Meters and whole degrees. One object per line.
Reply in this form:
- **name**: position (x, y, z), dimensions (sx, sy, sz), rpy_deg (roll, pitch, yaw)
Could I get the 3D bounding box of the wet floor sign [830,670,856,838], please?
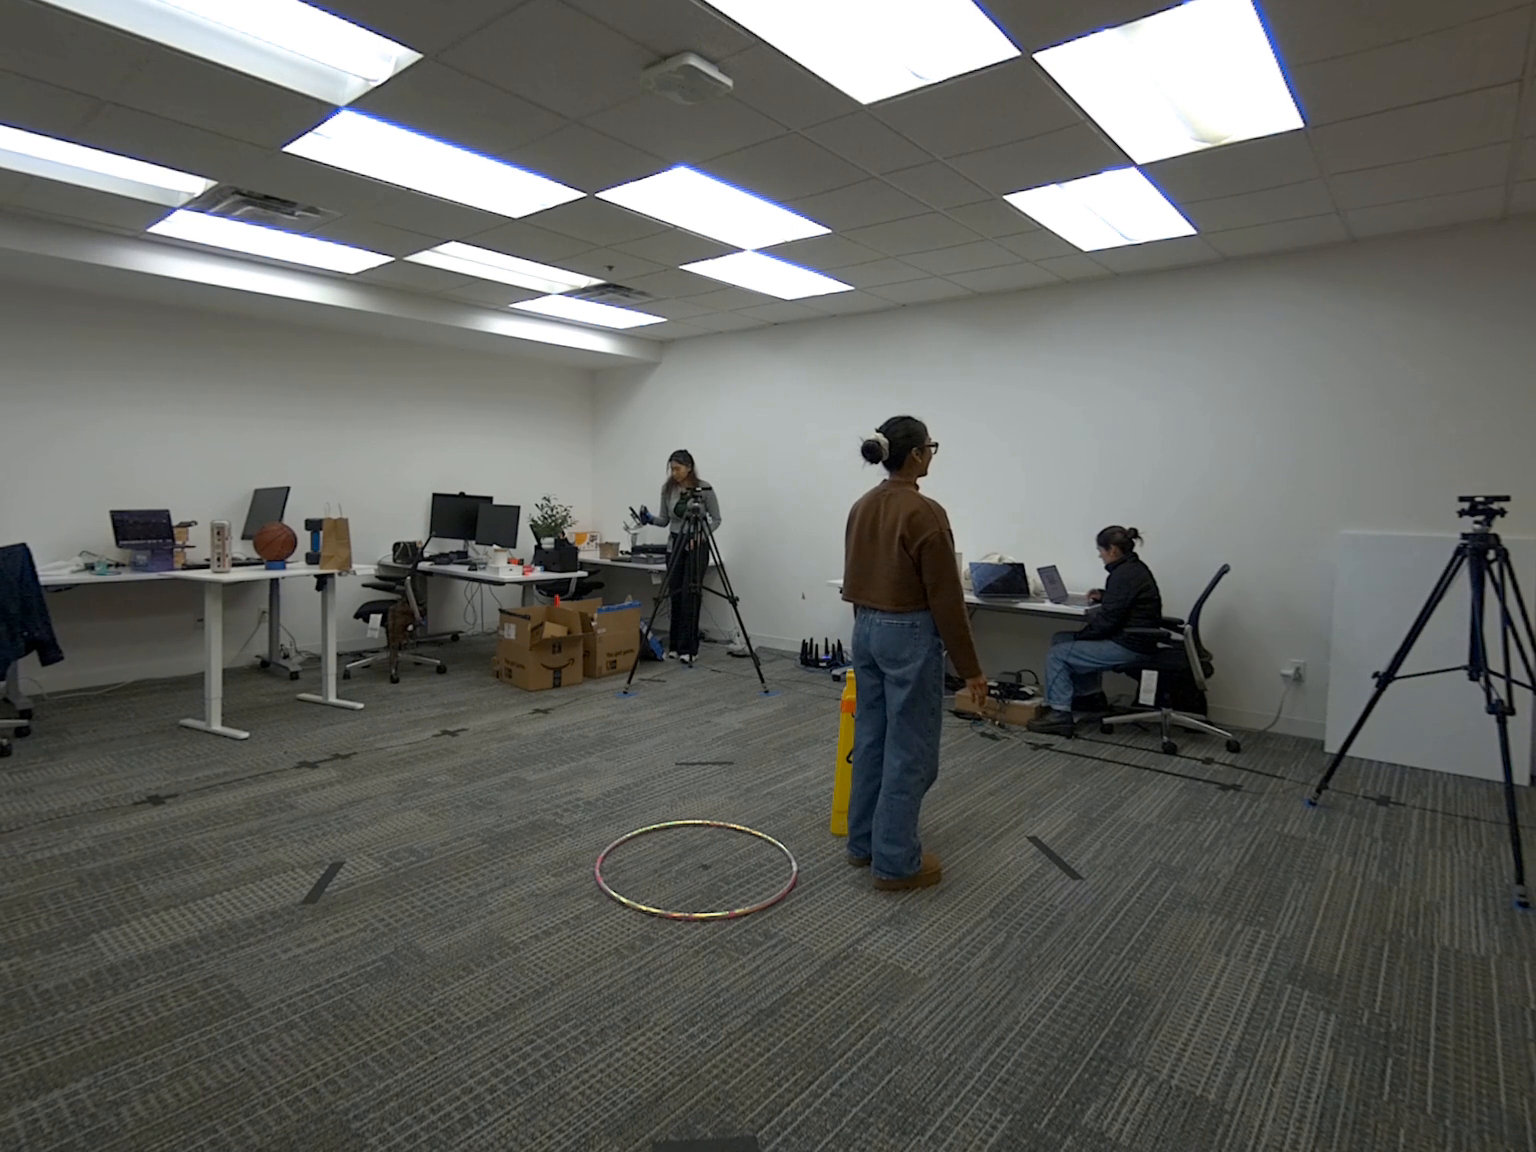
- **wet floor sign**: position (0.410, 0.706, 3.537), dimensions (0.286, 0.644, 0.287), rpy_deg (3, 4, 10)
